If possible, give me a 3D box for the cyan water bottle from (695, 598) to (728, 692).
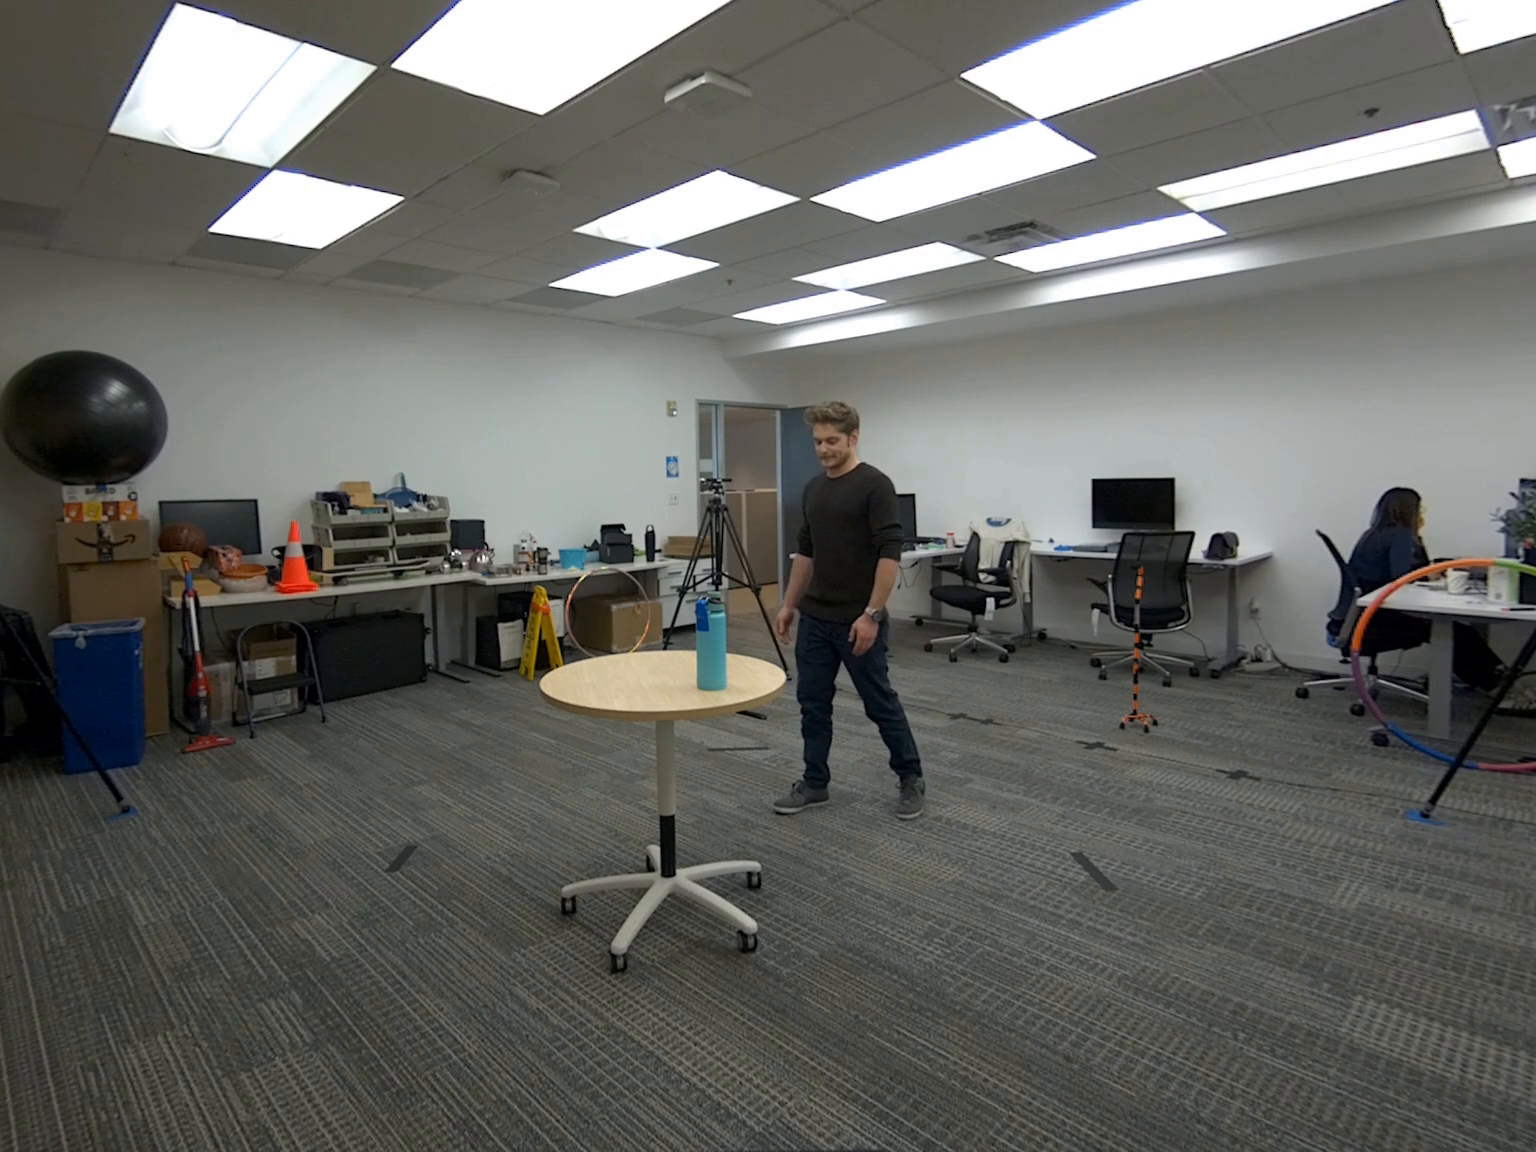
[{"bbox_3d":[-0.167,0.193,2.534,0.092,0.282,0.093,-3,6,-1],"label":"cyan water bottle"}]
